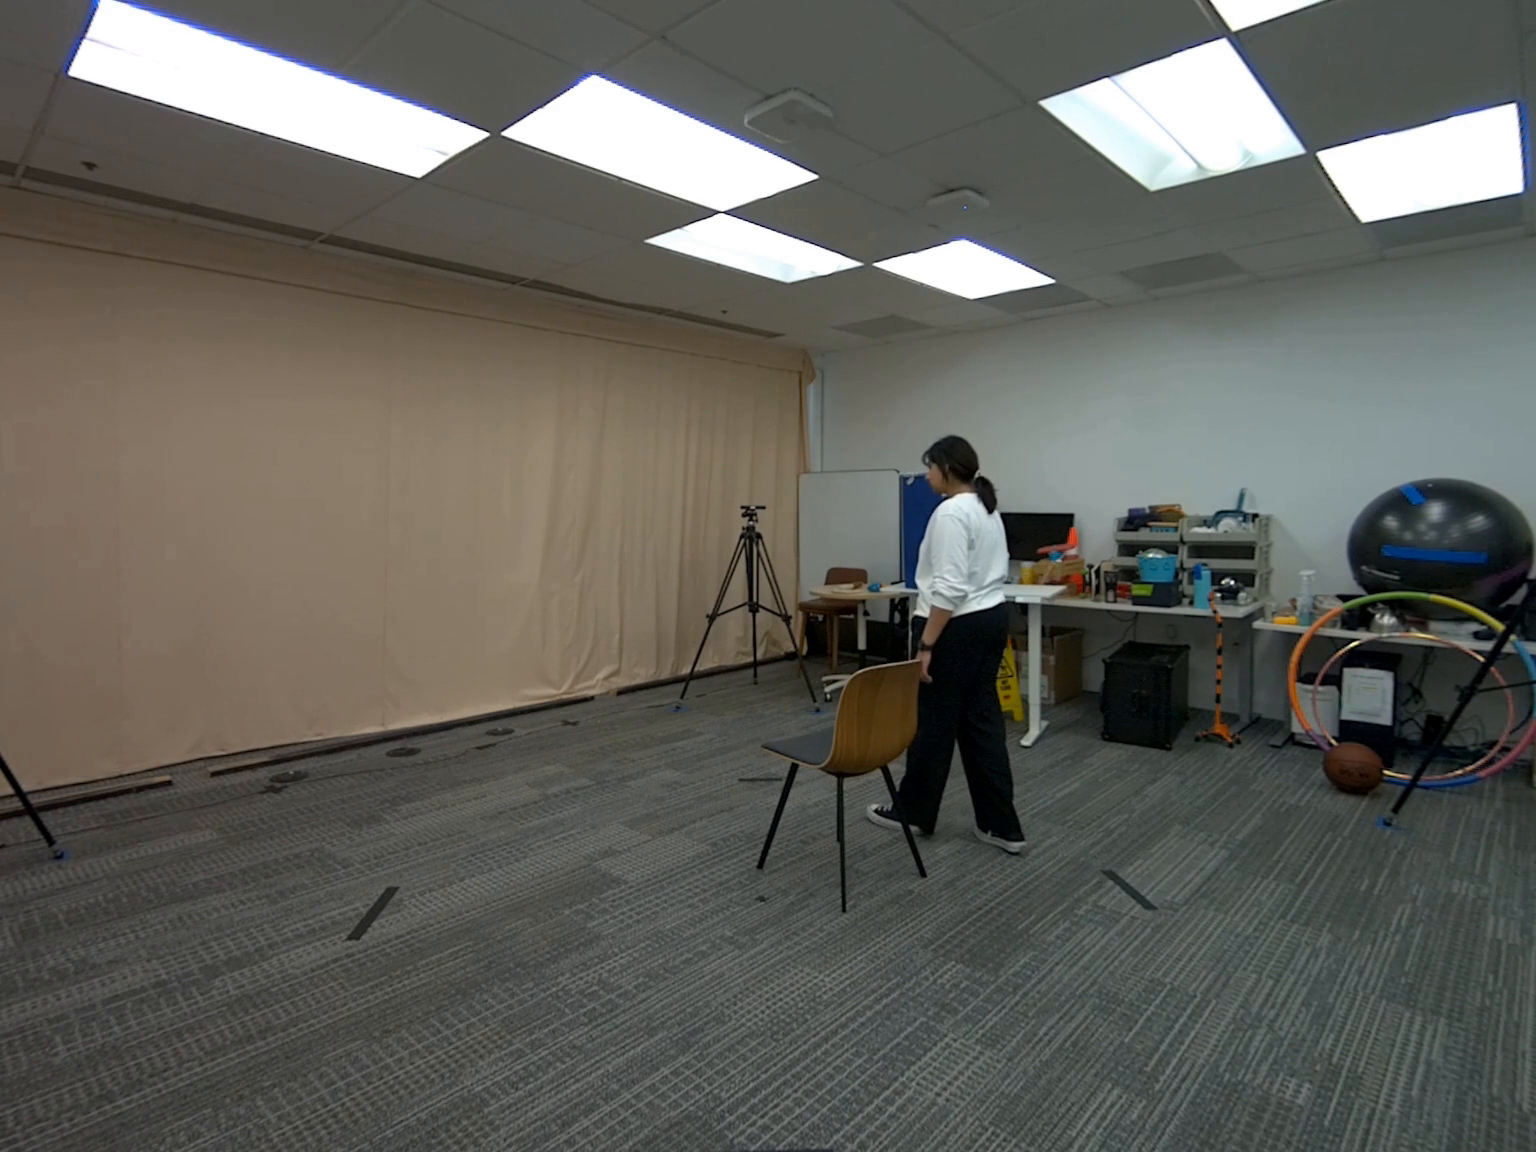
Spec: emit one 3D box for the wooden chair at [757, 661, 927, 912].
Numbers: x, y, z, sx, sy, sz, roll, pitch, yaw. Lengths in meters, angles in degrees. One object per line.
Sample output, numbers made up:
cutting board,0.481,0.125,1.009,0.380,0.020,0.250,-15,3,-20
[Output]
wooden chair,0.274,0.698,3.164,0.463,0.874,0.541,-3,9,-40
